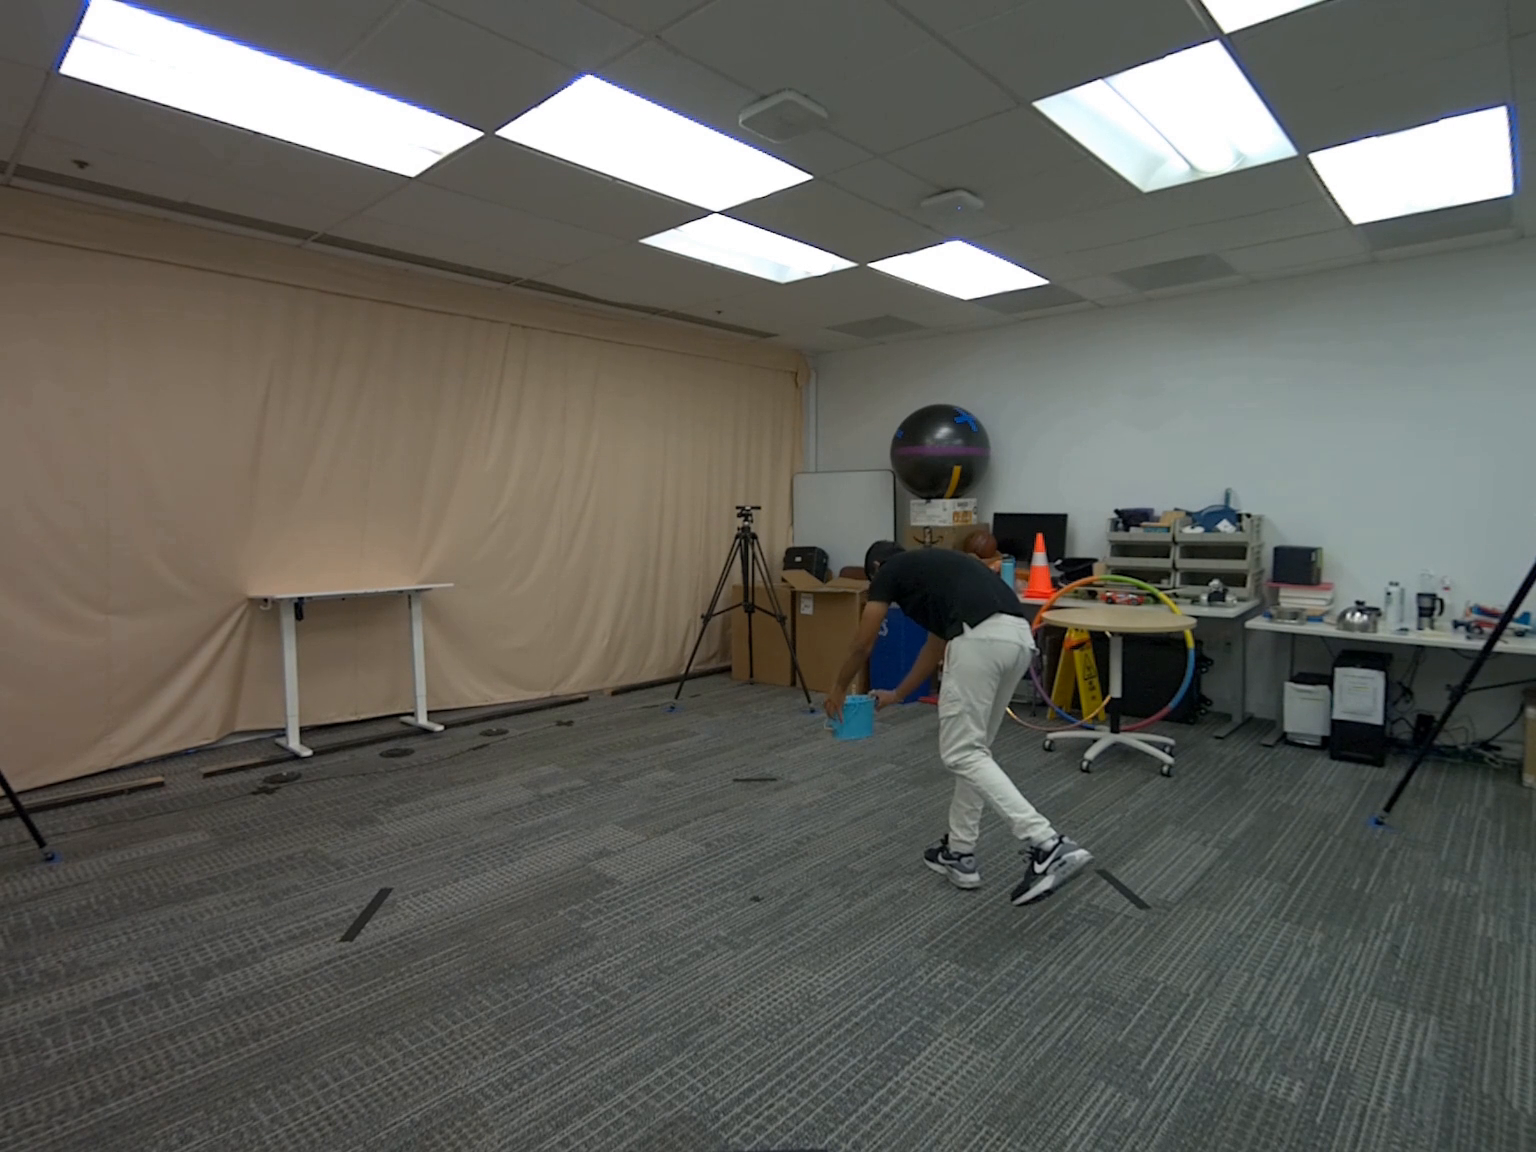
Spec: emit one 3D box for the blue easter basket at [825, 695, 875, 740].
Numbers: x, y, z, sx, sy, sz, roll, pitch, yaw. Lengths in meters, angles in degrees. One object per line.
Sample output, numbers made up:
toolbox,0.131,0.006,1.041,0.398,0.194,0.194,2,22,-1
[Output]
blue easter basket,0.357,0.614,3.676,0.243,0.156,0.244,-3,0,-2
